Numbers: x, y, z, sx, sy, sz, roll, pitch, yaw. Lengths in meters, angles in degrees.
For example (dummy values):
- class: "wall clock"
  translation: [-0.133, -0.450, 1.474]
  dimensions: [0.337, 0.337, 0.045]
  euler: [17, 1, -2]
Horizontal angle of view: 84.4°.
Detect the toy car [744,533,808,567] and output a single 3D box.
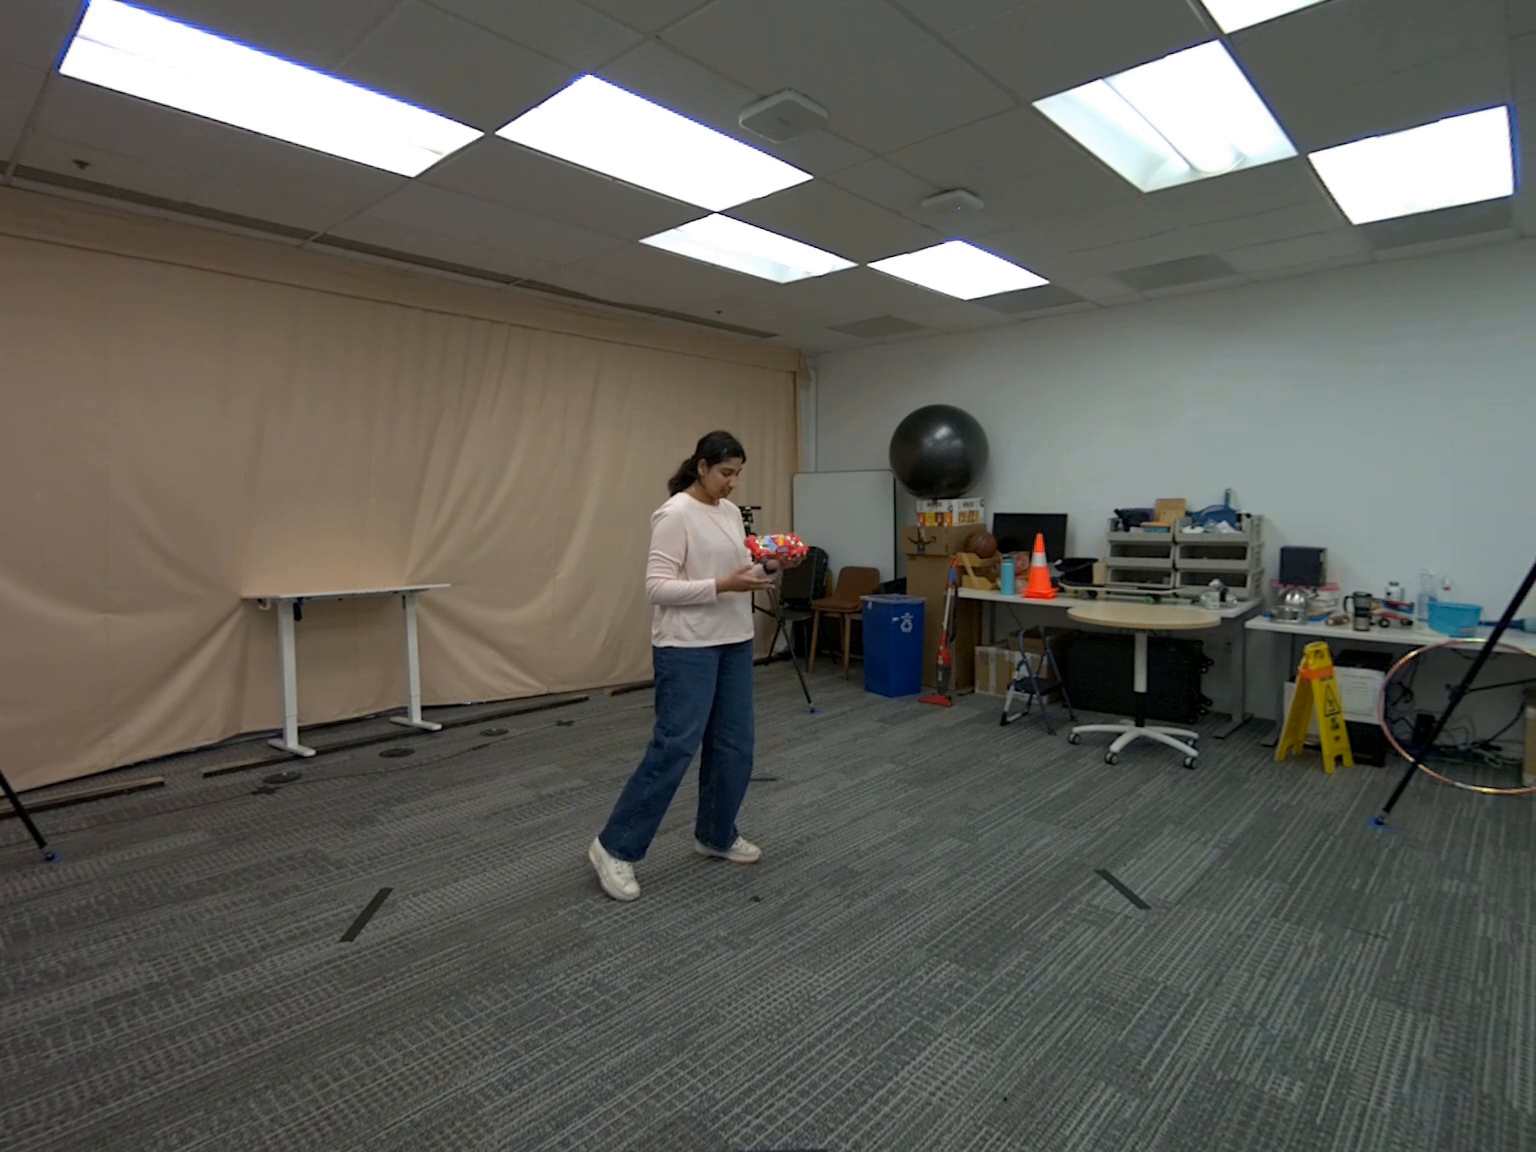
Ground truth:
- class: "toy car"
  translation: [0.034, -0.100, 3.083]
  dimensions: [0.248, 0.082, 0.134]
  euler: [-11, 47, -32]
